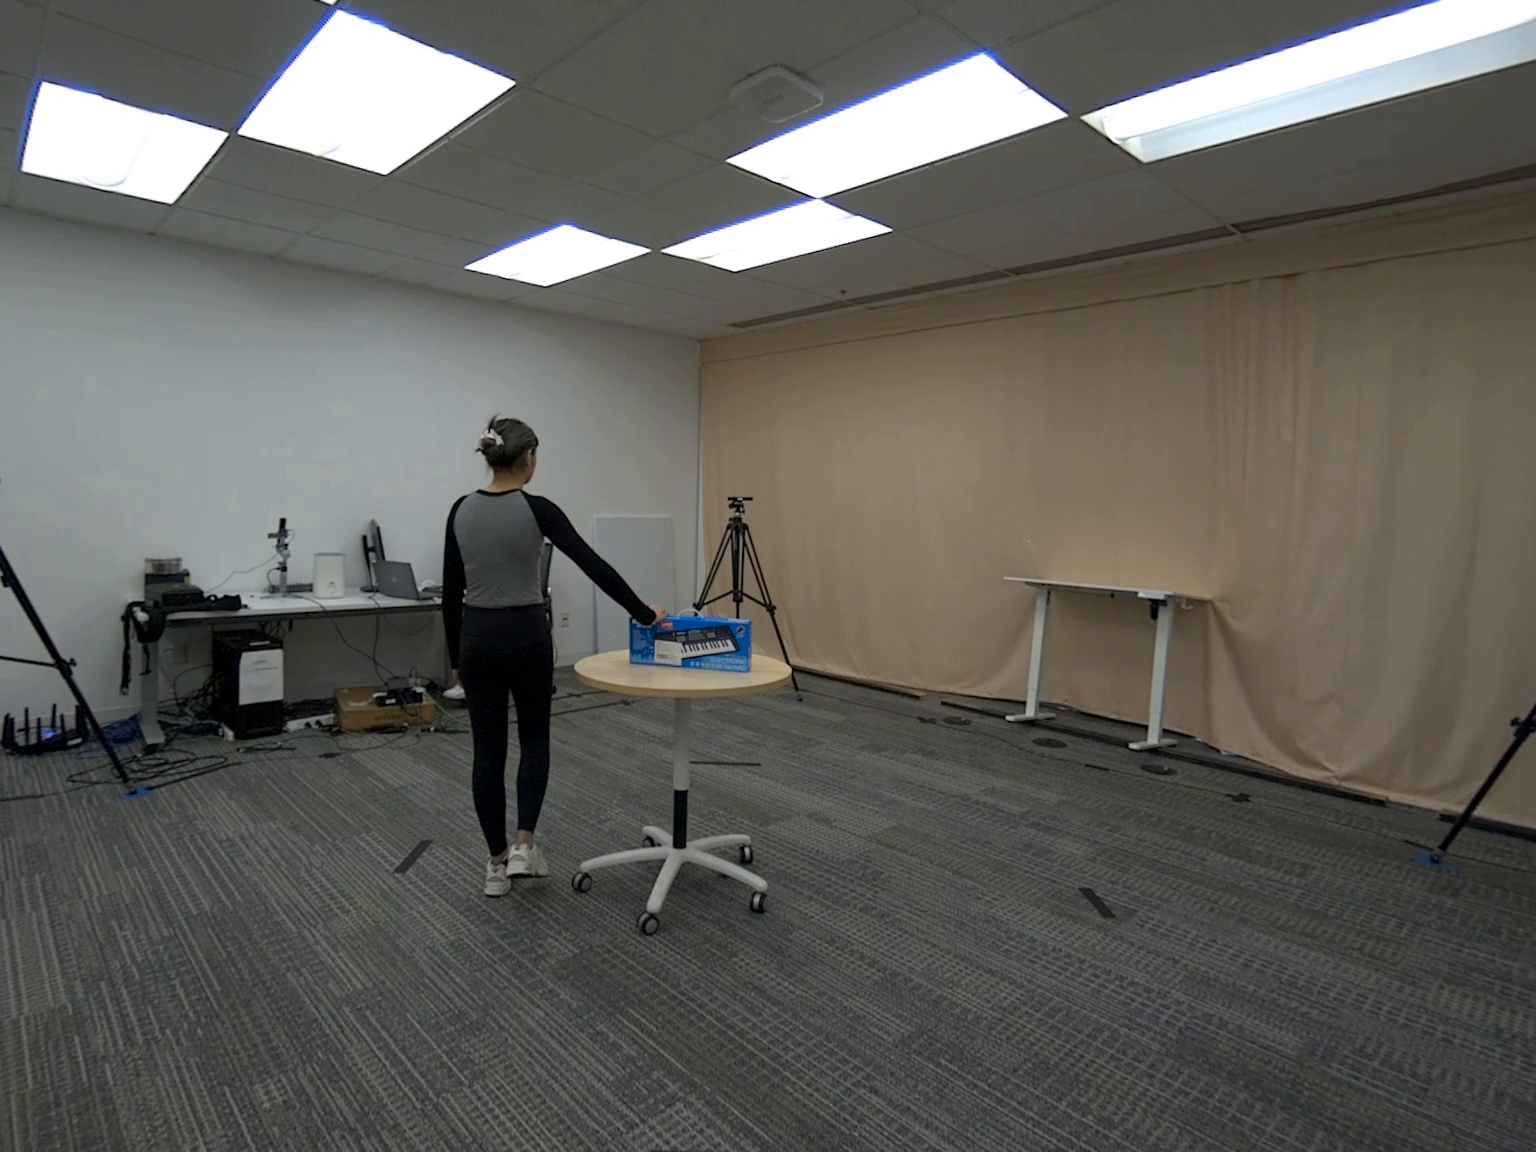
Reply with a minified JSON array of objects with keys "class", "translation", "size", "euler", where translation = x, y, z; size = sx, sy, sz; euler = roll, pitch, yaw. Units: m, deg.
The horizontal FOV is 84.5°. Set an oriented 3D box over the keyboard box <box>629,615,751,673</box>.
[{"class":"keyboard box","translation":[-0.282,0.230,2.974],"size":[0.441,0.175,0.059],"euler":[3,7,12]}]
